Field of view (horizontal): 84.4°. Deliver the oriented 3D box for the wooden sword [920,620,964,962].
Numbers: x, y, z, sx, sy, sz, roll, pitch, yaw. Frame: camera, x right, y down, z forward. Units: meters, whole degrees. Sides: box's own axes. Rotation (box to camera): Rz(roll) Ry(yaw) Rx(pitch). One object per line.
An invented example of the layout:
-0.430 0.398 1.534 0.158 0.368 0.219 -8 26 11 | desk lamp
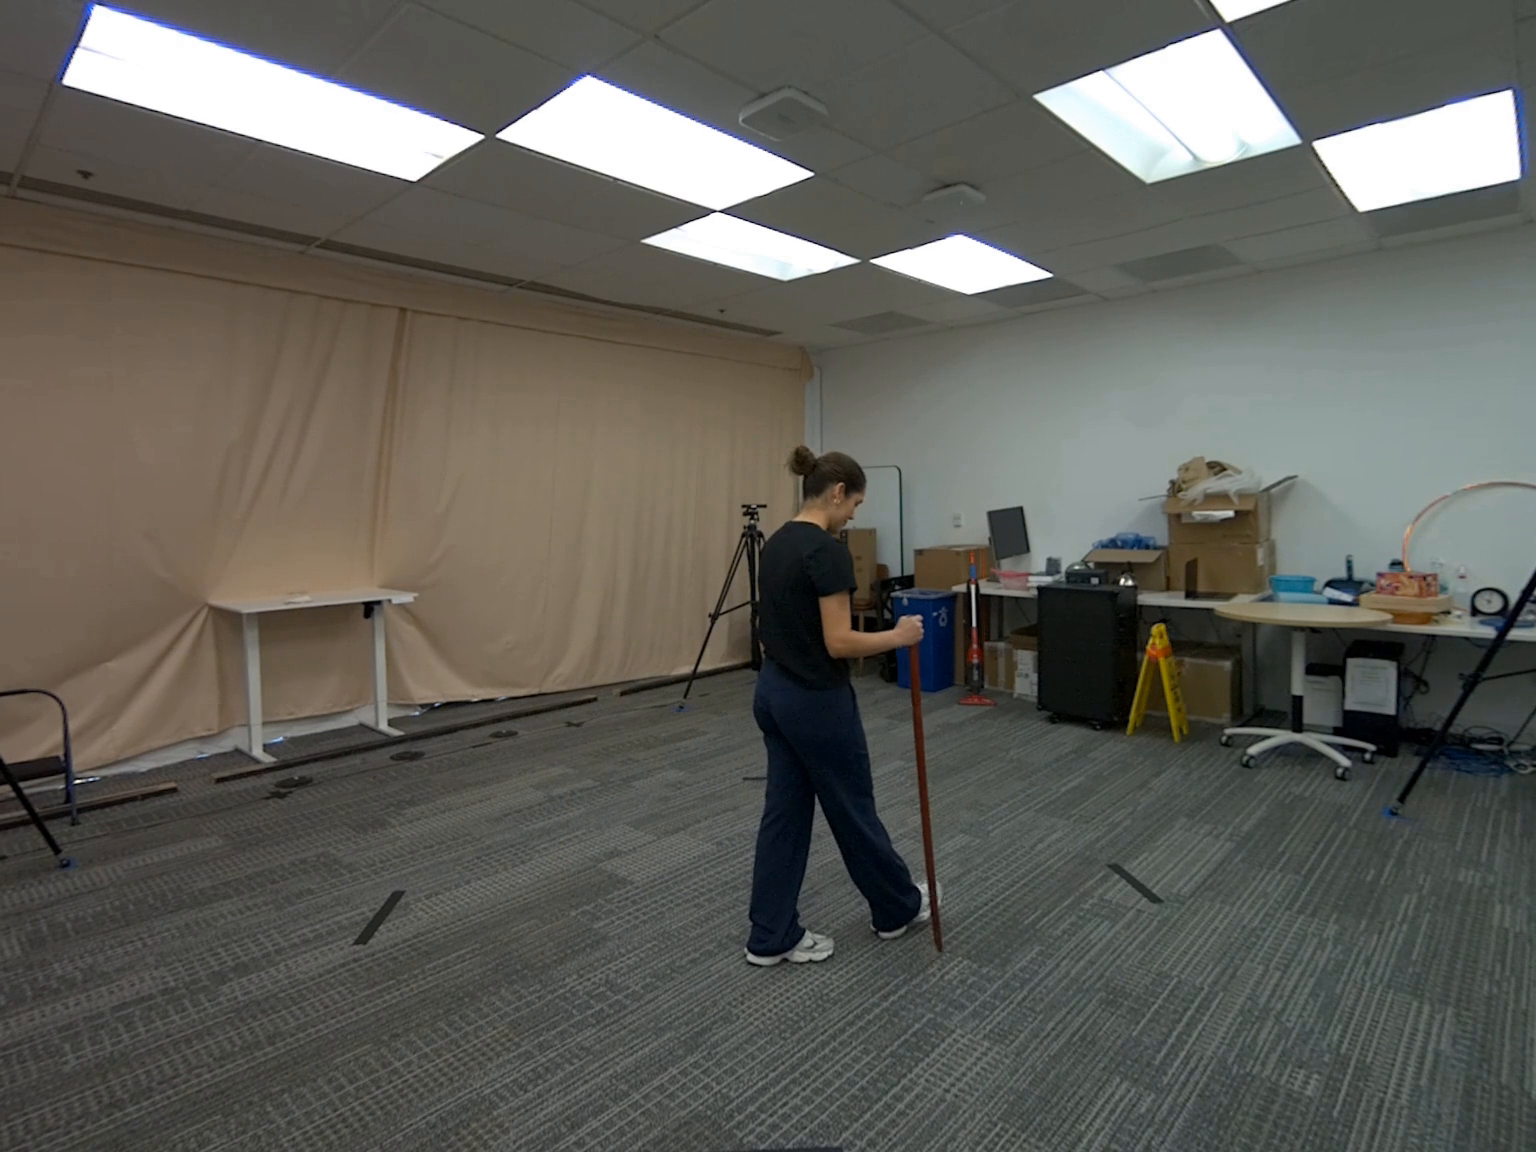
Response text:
0.519 0.643 2.541 0.052 1.023 0.023 -4 2 28 | wooden sword
